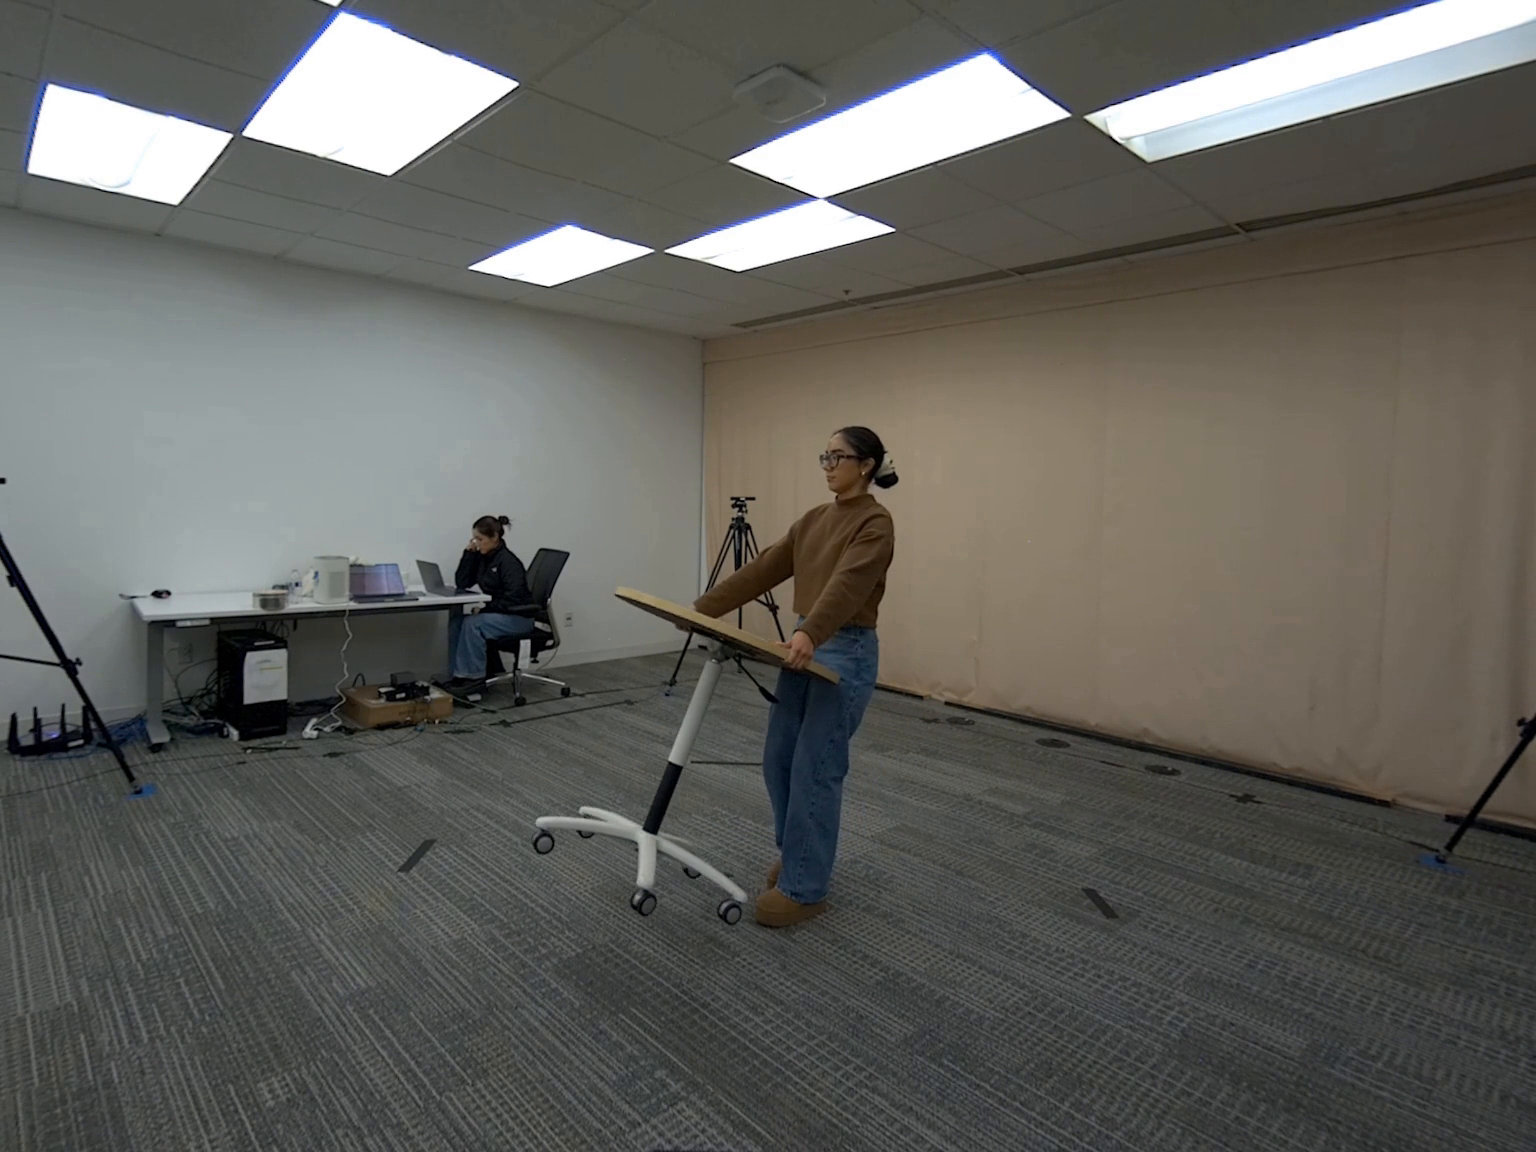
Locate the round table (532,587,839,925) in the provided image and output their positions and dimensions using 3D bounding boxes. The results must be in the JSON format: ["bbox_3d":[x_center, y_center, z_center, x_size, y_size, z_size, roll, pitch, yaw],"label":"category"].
[{"bbox_3d":[-0.282,0.552,2.621,0.787,0.789,0.780,21,-8,2],"label":"round table"}]
